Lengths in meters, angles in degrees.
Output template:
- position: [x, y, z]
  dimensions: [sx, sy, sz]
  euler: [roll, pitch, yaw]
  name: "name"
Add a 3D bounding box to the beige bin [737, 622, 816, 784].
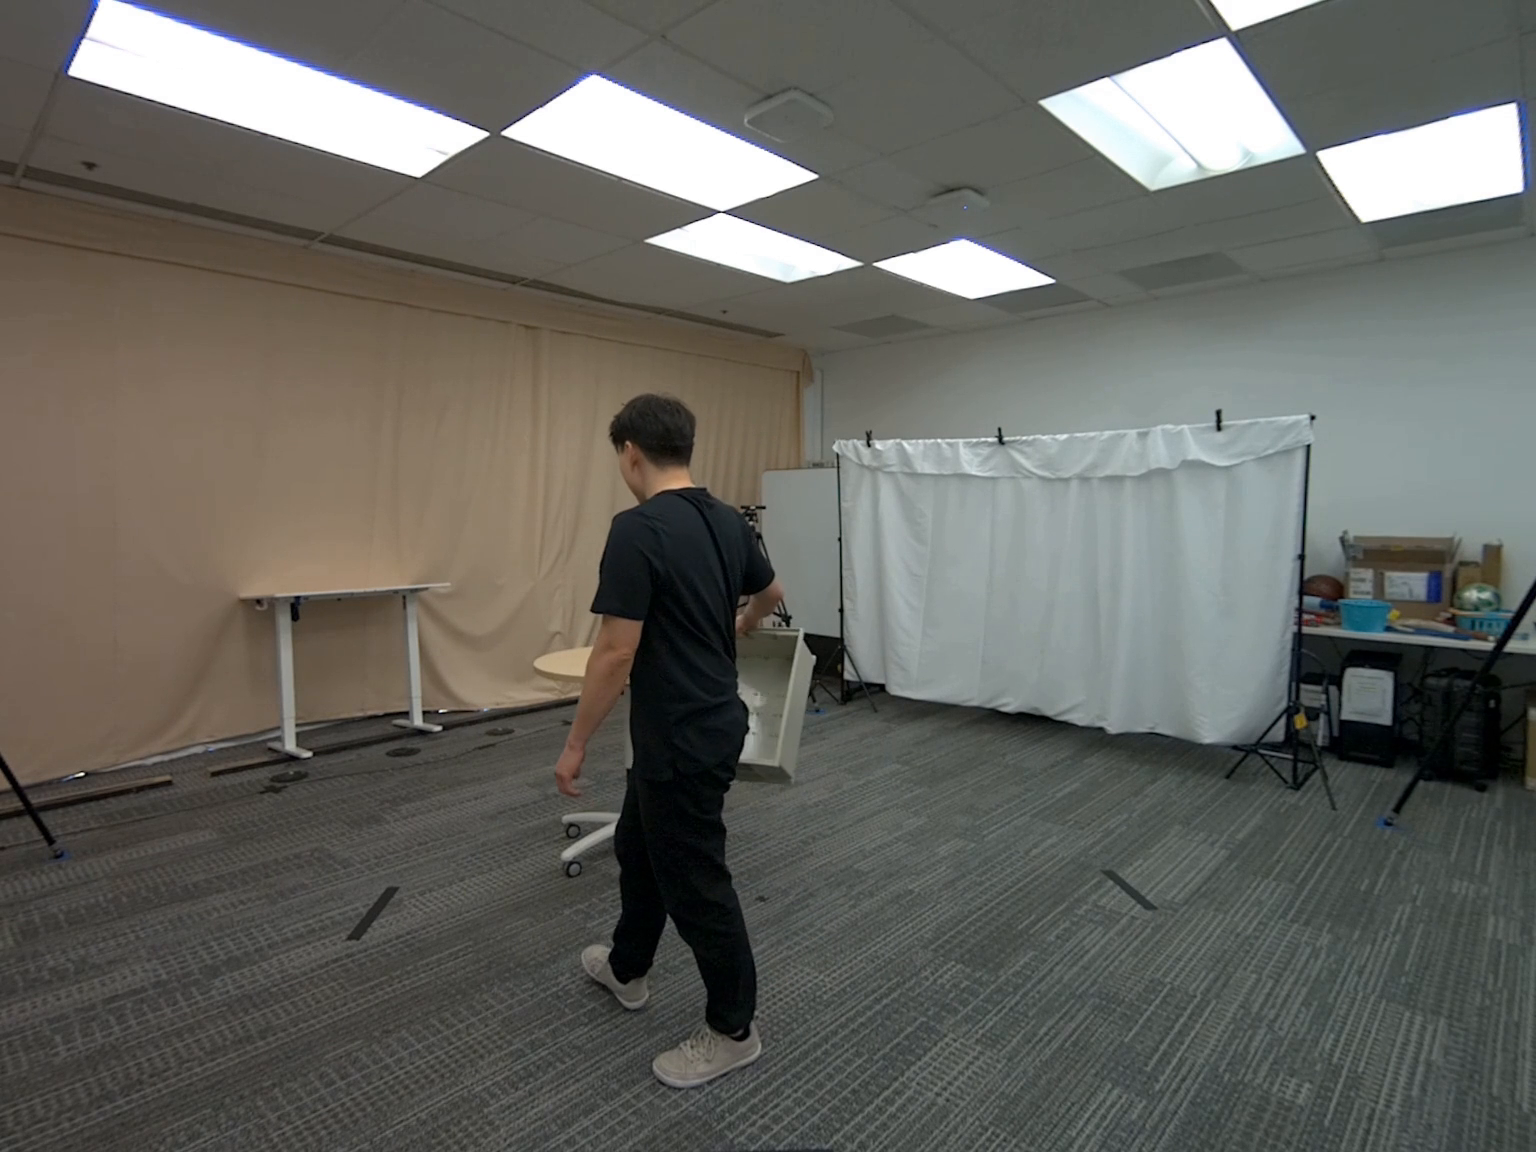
- position: [-0.077, 0.382, 2.536]
  dimensions: [0.386, 0.426, 0.183]
  euler: [-1, -33, 24]
  name: "beige bin"
